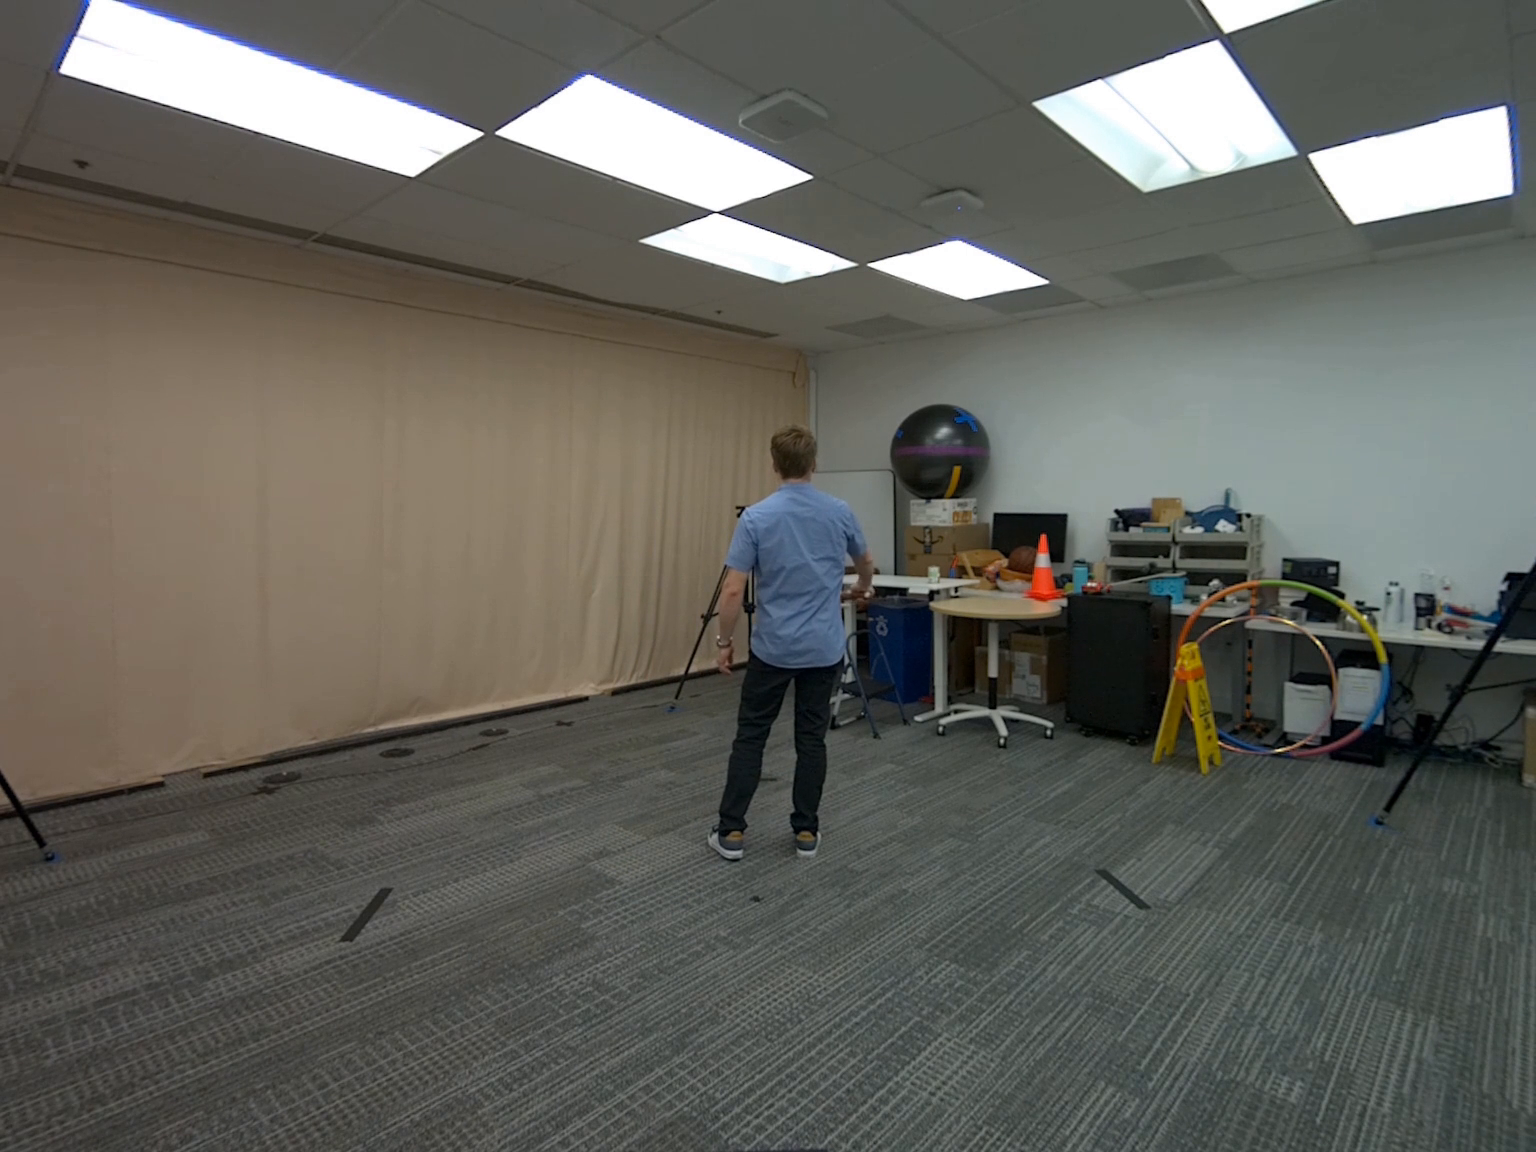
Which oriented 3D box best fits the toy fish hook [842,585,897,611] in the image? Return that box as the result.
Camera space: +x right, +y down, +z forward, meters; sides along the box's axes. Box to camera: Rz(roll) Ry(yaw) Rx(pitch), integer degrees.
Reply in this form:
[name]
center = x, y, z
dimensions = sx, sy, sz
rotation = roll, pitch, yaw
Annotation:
[toy fish hook]
center = 0.349, 0.095, 4.015
dimensions = 0.218, 0.048, 0.521
rotation = 22, -11, -30
